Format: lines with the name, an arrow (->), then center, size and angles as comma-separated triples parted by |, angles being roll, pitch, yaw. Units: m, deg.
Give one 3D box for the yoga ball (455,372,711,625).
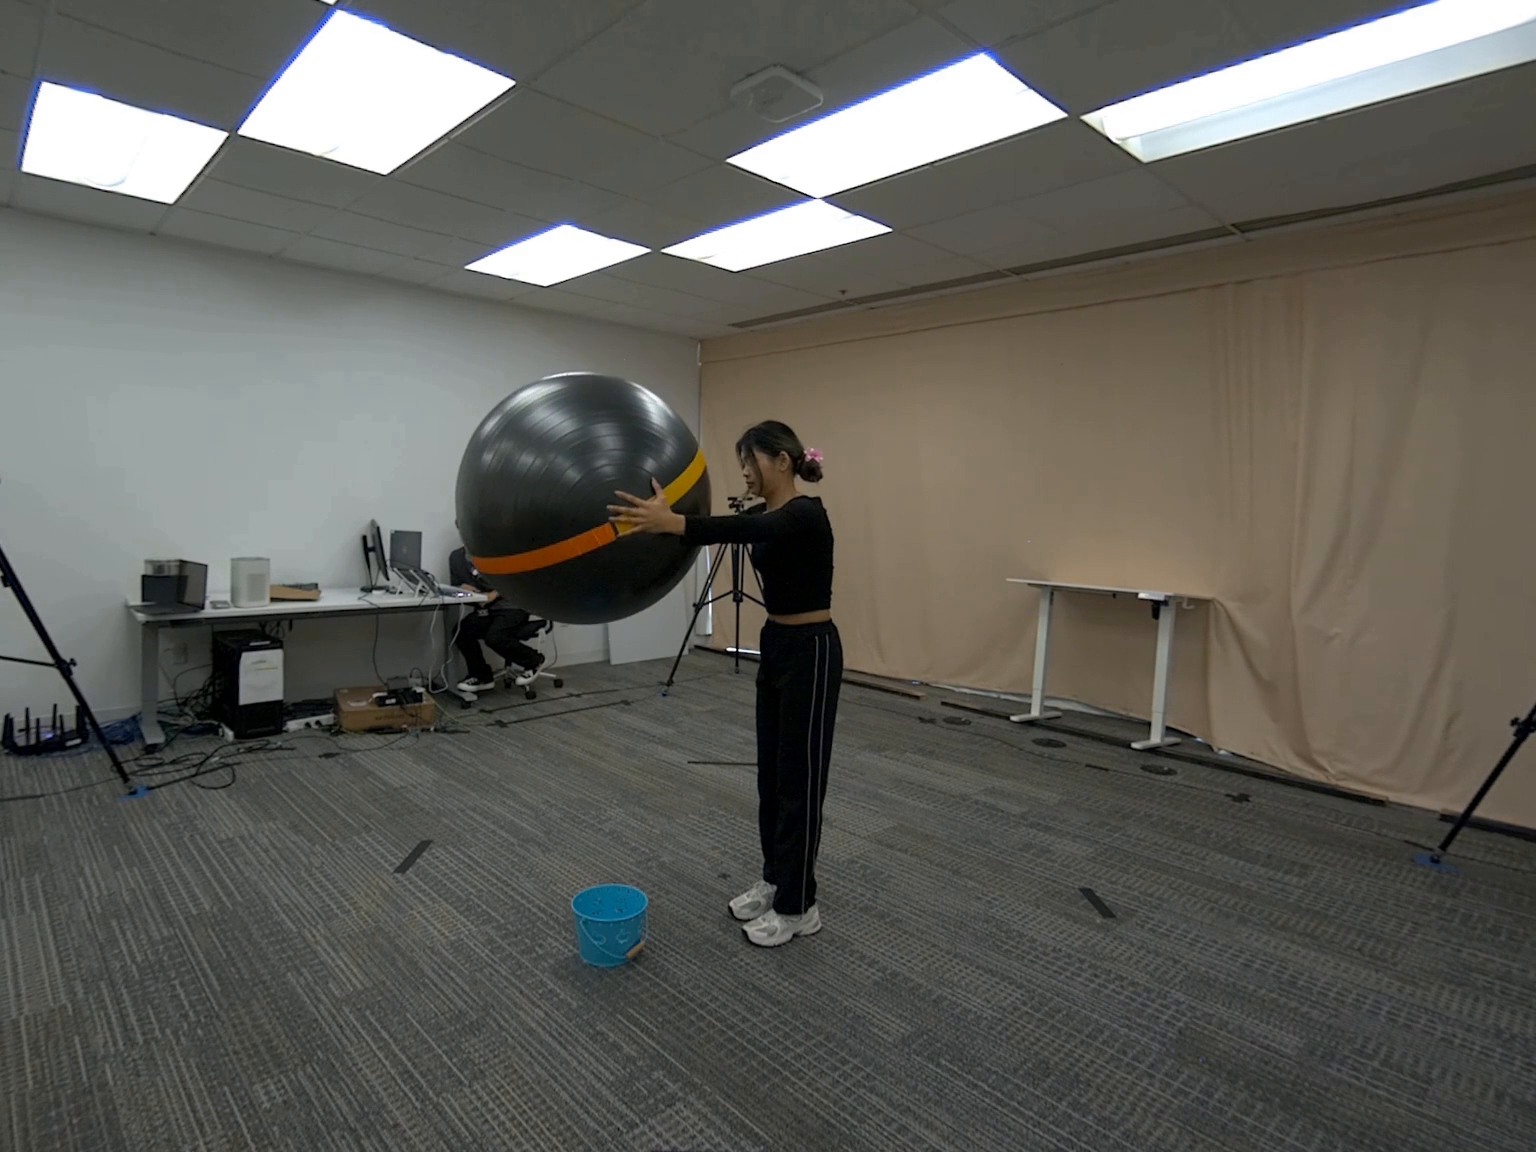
yoga ball -> -0.562, -0.225, 2.546 | 0.757, 0.756, 0.761 | 1, 4, -1
